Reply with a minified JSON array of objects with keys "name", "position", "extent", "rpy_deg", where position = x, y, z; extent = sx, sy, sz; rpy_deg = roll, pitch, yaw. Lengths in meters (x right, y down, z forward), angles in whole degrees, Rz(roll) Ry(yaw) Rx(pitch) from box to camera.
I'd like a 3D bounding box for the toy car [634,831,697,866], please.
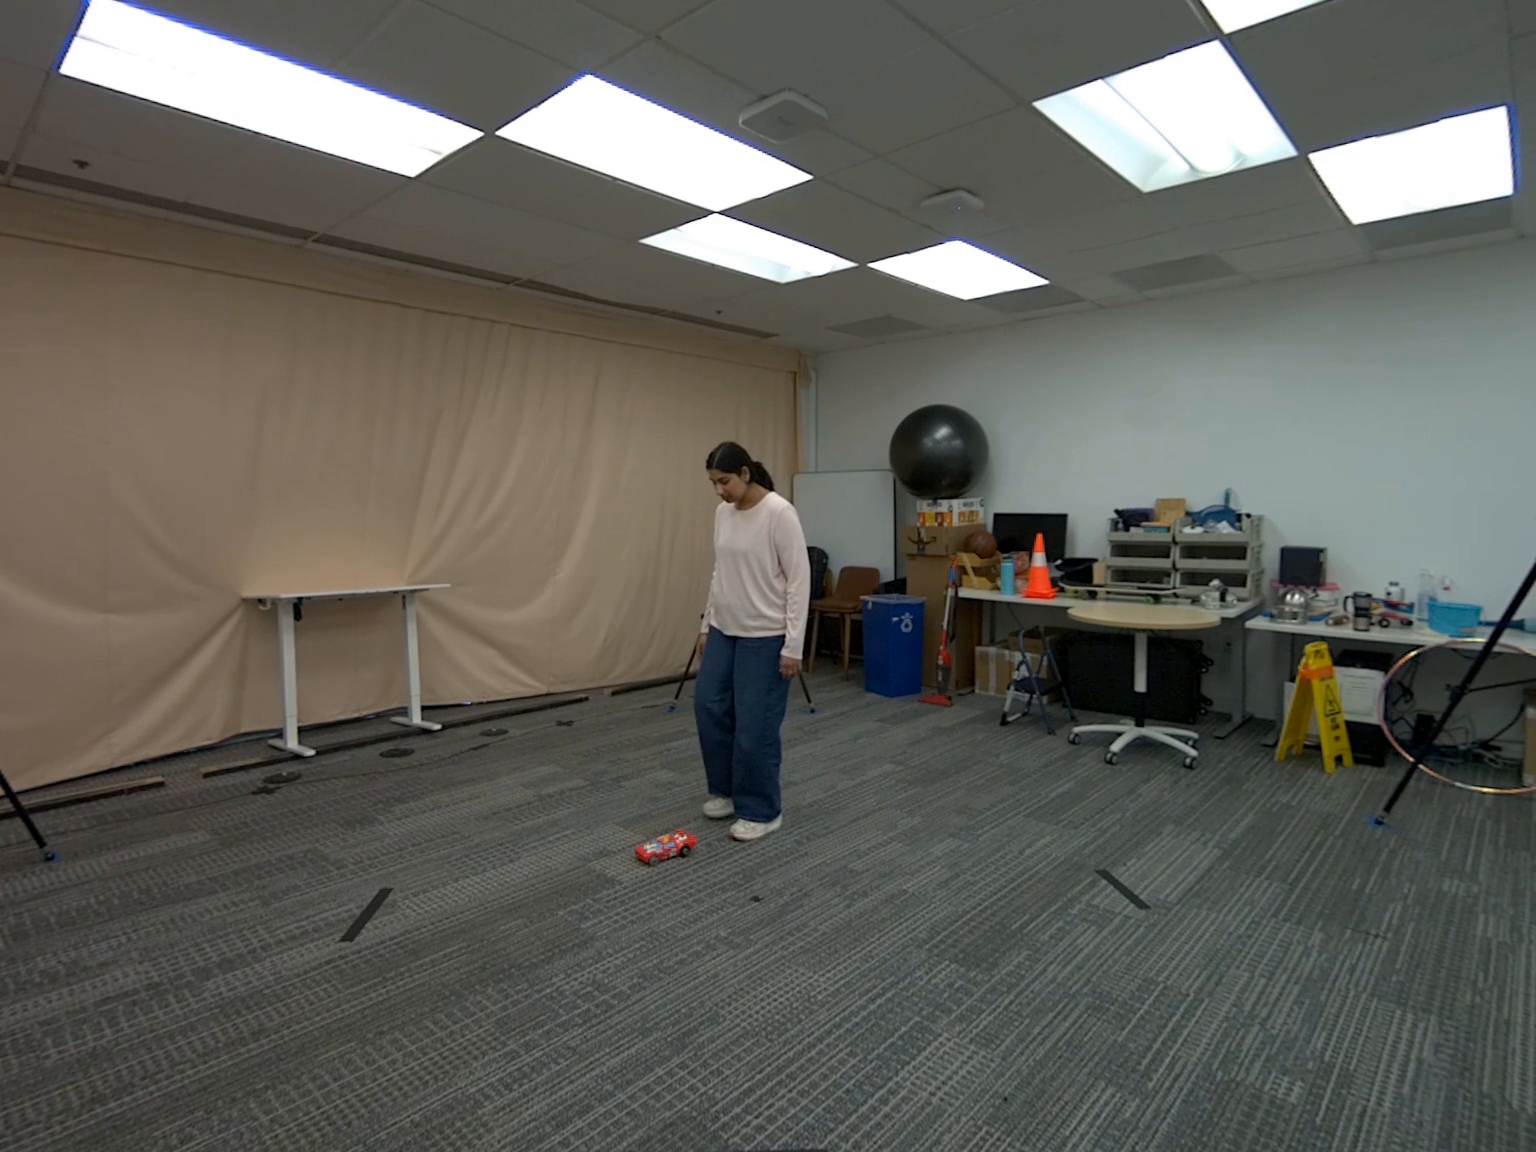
[{"name":"toy car","position":[-0.406,1.088,3.359],"extent":[0.248,0.082,0.134],"rpy_deg":[-17,13,-34]}]
